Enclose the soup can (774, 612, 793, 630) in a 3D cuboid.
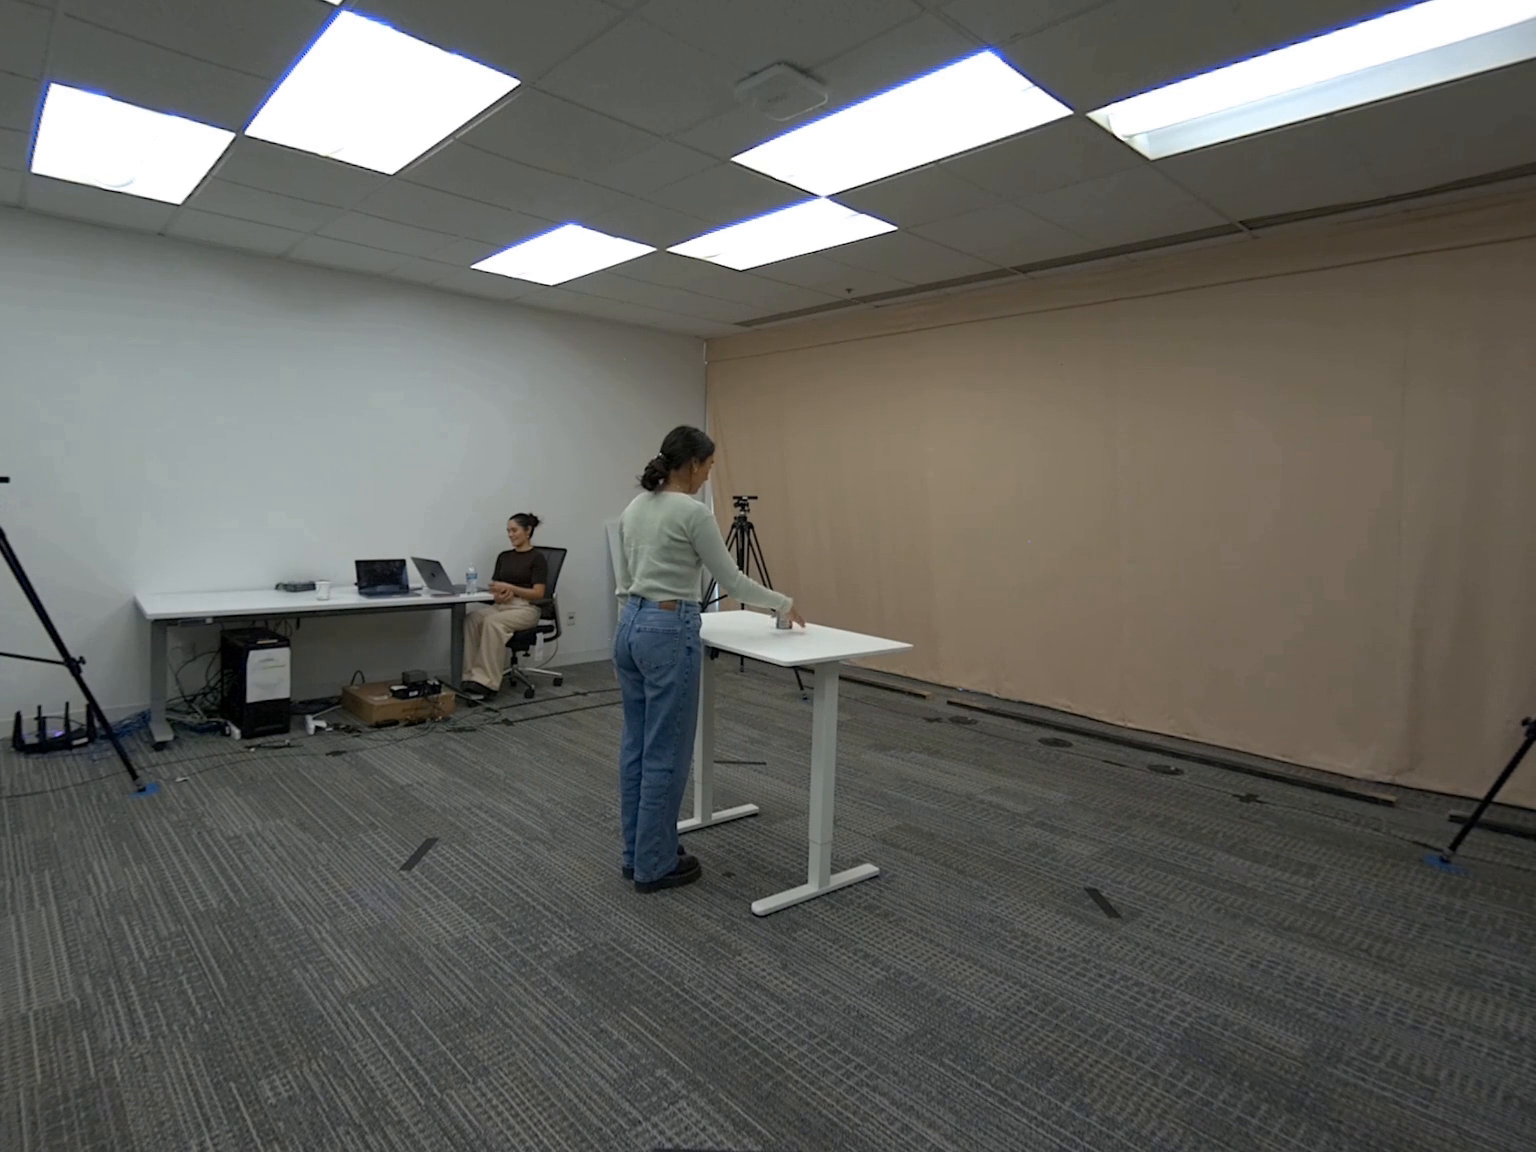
[{"bbox_3d":[0.061,0.150,3.298,0.067,0.121,0.067,1,5,-1],"label":"soup can"}]
